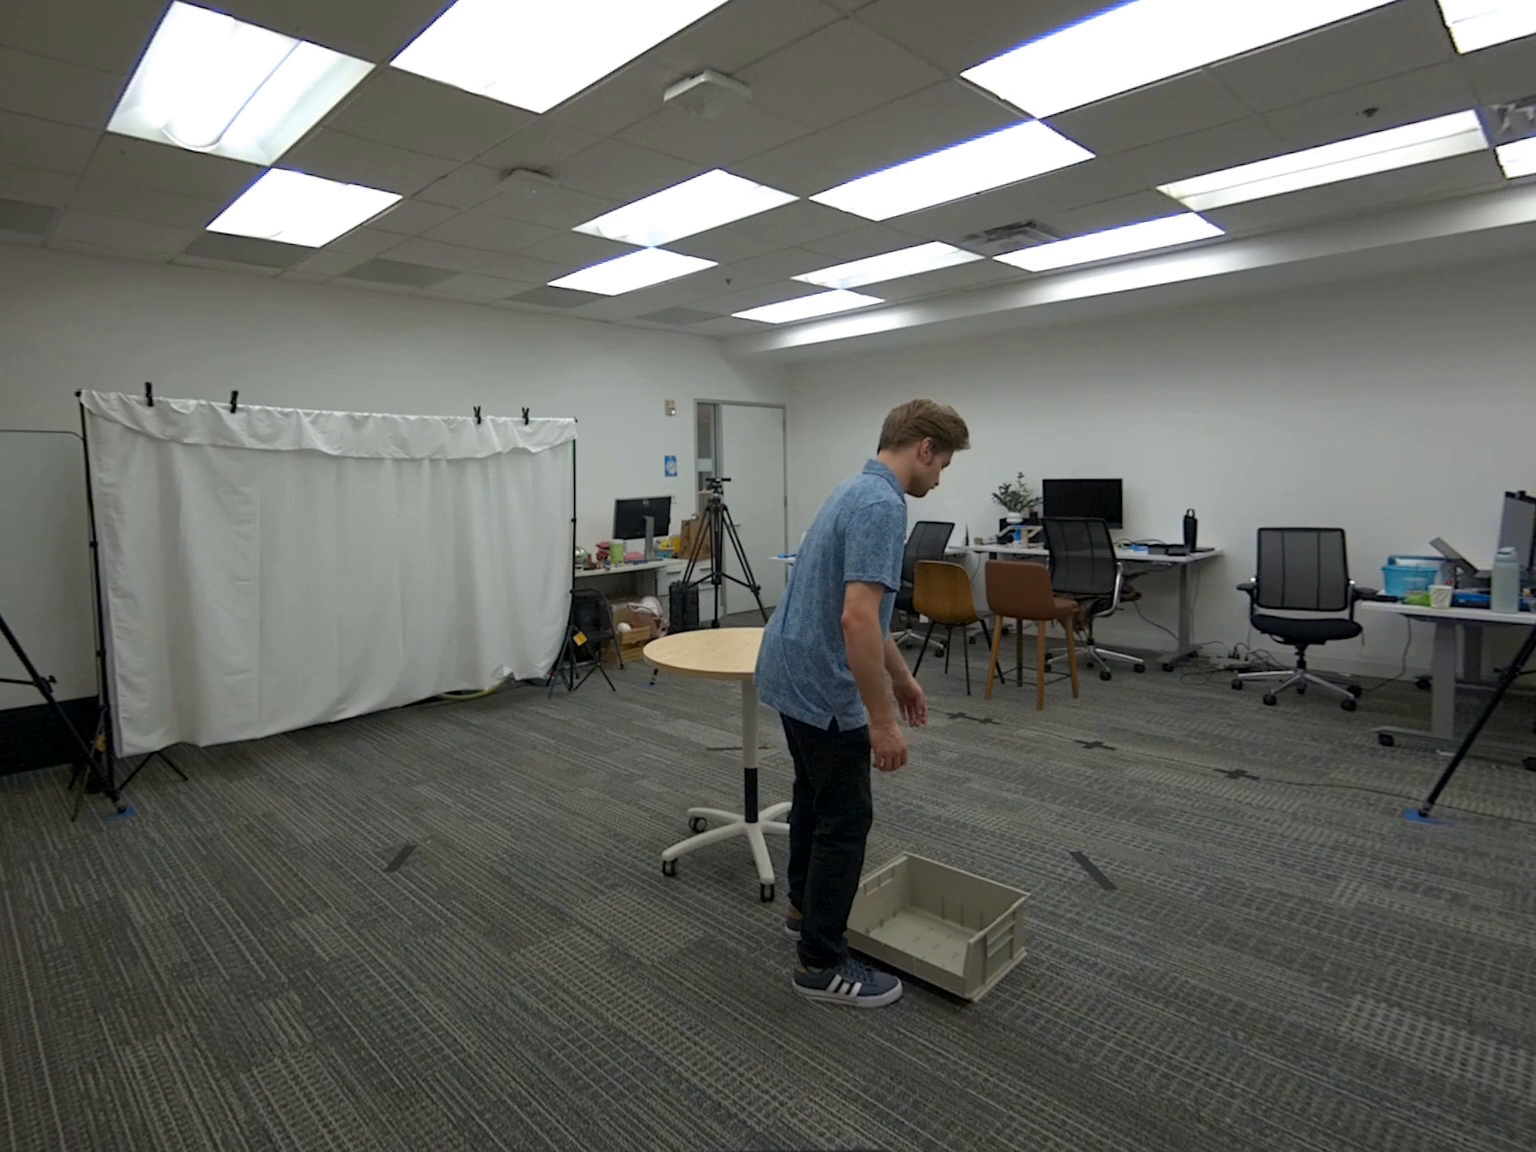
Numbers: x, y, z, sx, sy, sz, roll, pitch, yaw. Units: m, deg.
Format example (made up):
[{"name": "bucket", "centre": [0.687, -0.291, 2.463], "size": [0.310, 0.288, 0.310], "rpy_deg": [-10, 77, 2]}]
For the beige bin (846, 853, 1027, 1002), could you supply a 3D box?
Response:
[{"name": "beige bin", "centre": [0.484, 1.016, 2.494], "size": [0.435, 0.188, 0.367], "rpy_deg": [4, 7, 44]}]
